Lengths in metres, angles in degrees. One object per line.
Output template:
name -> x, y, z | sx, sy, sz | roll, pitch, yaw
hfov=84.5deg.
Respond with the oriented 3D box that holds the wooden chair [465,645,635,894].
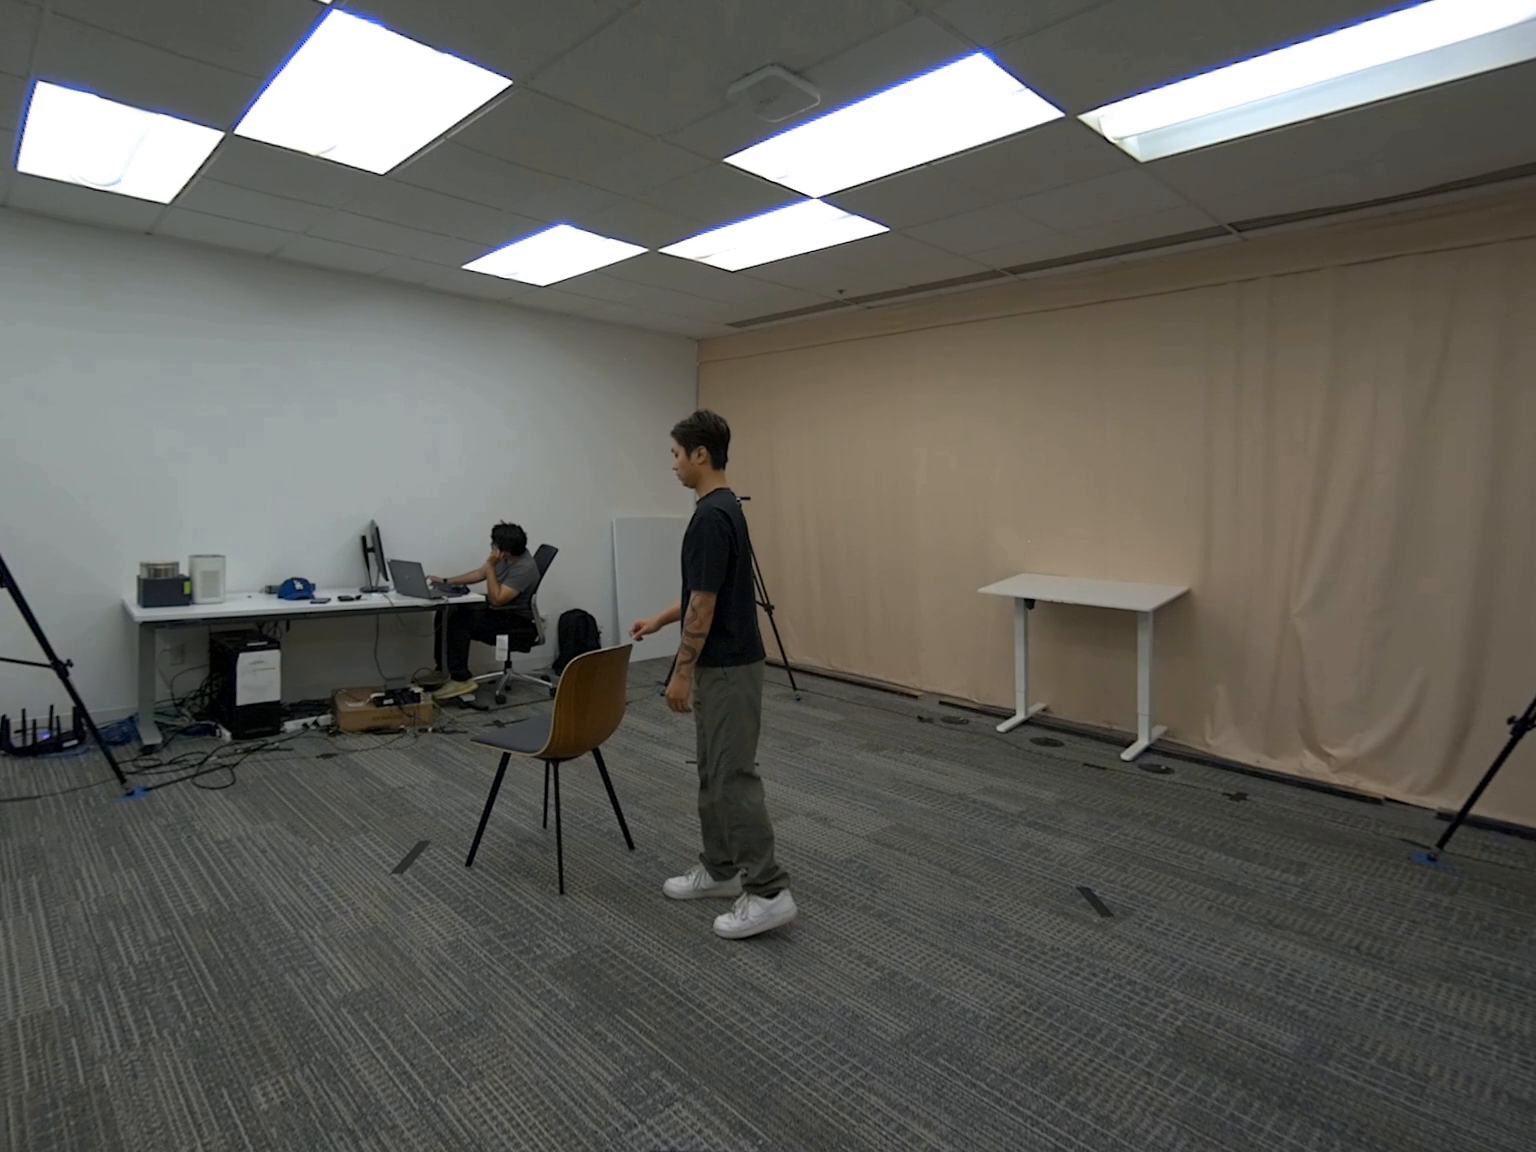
wooden chair -> -0.826, 0.654, 3.197 | 0.534, 0.874, 0.469 | 8, 6, 26
